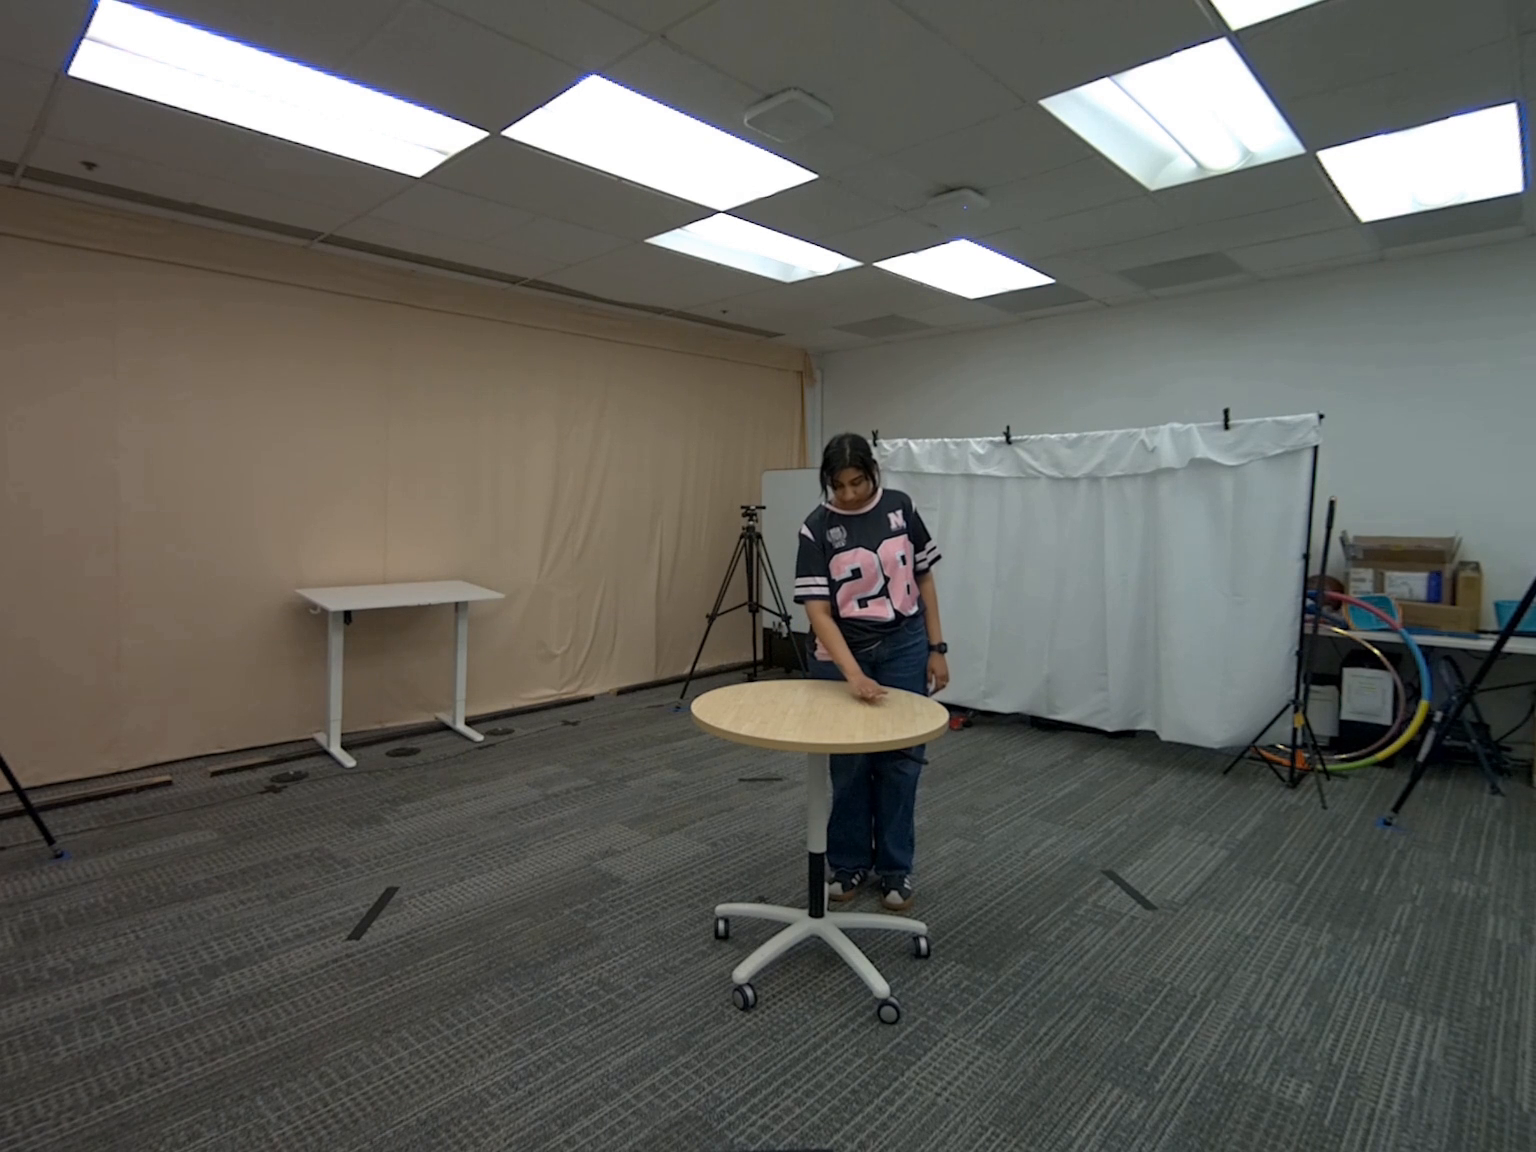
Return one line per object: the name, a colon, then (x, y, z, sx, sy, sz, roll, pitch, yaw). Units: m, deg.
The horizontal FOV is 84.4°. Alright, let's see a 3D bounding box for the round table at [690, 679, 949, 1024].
round table: (0.163, 0.788, 2.551, 0.784, 0.785, 0.788, 0, 4, -2)
